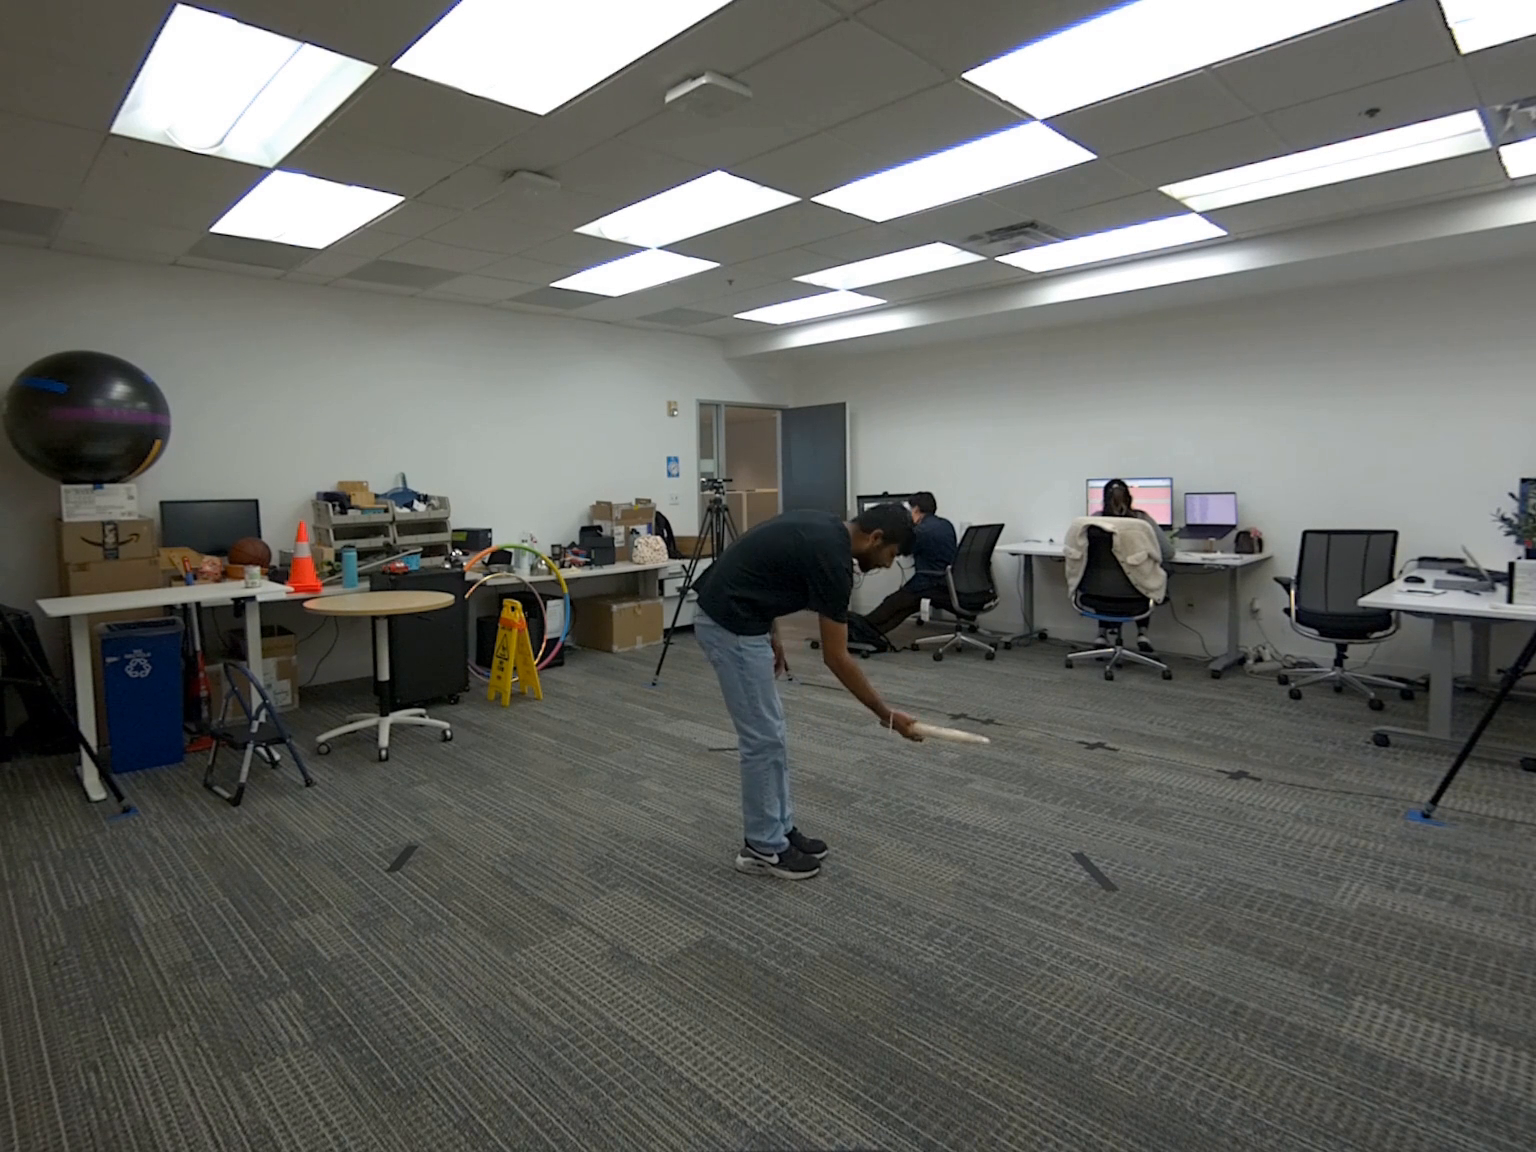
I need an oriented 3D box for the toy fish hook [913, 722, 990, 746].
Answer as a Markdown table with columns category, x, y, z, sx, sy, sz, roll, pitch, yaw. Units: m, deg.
| category | x | y | z | sx | sy | sz | roll | pitch | yaw |
| --- | --- | --- | --- | --- | --- | --- | --- | --- | --- |
| toy fish hook | 0.560 | 0.529 | 2.890 | 0.220 | 0.048 | 0.514 | 17 | -8 | -18 |
